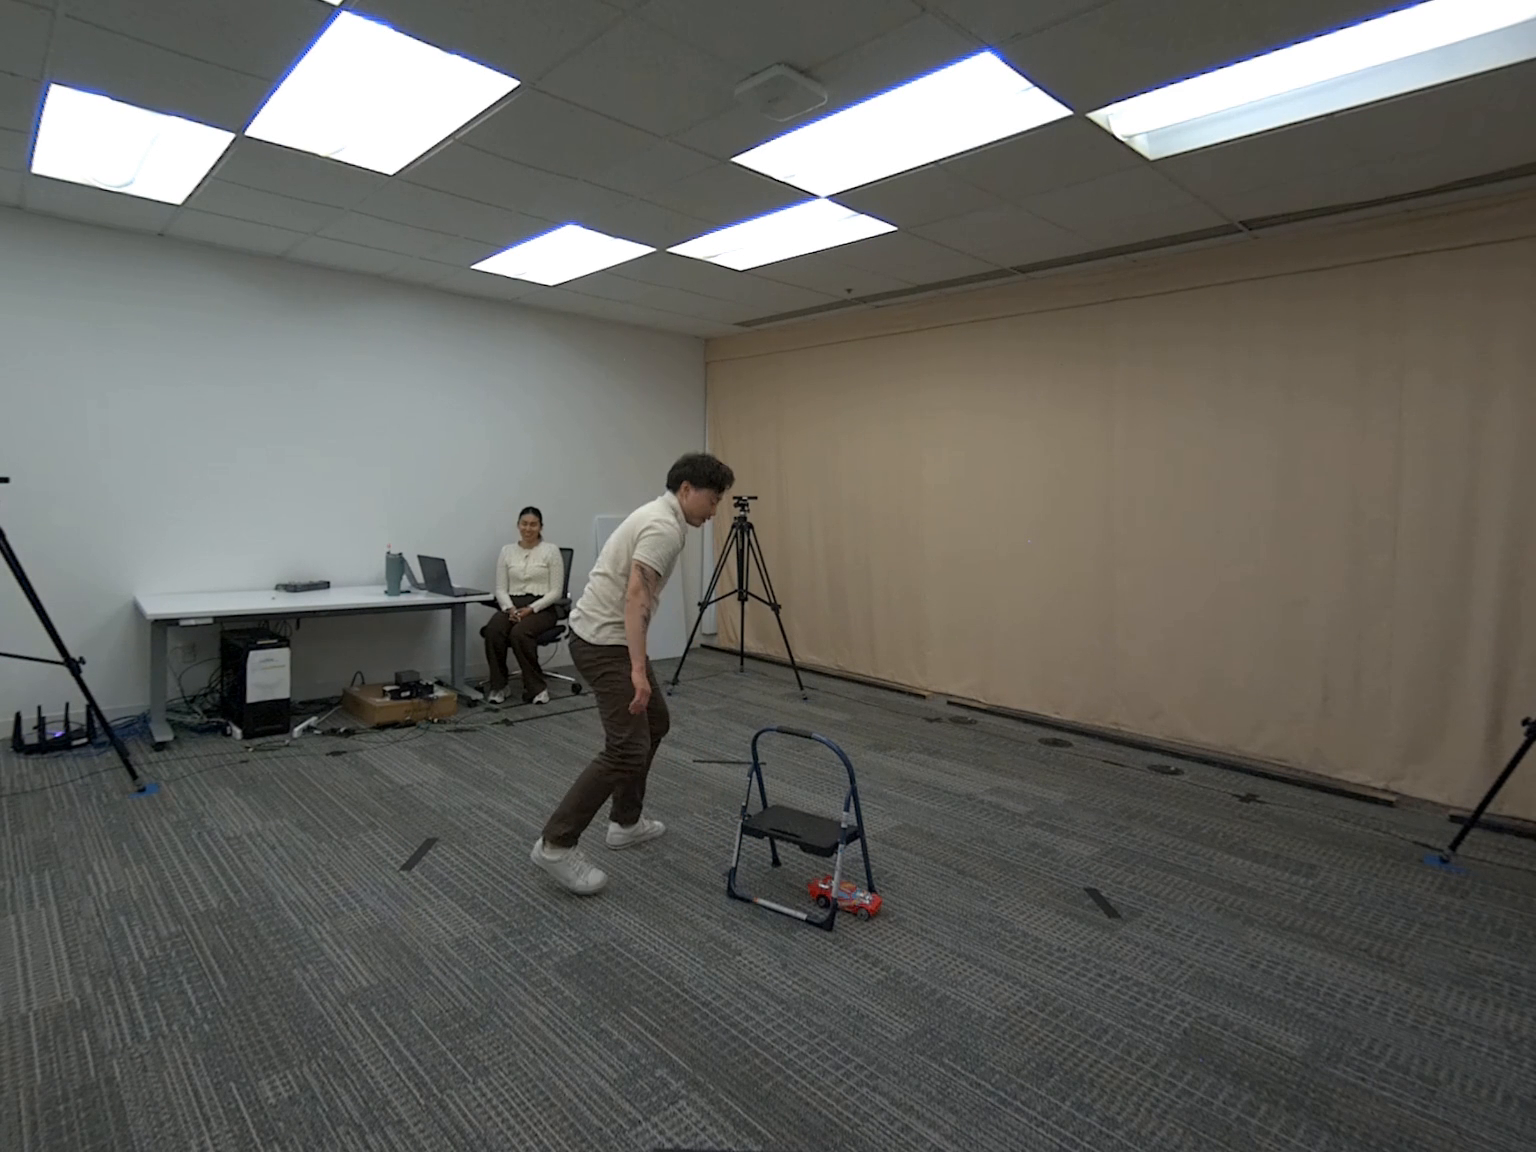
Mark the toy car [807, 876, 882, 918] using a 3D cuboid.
[{"bbox_3d":[0.252,1.101,2.873,0.261,0.083,0.128,17,11,29],"label":"toy car"}]
